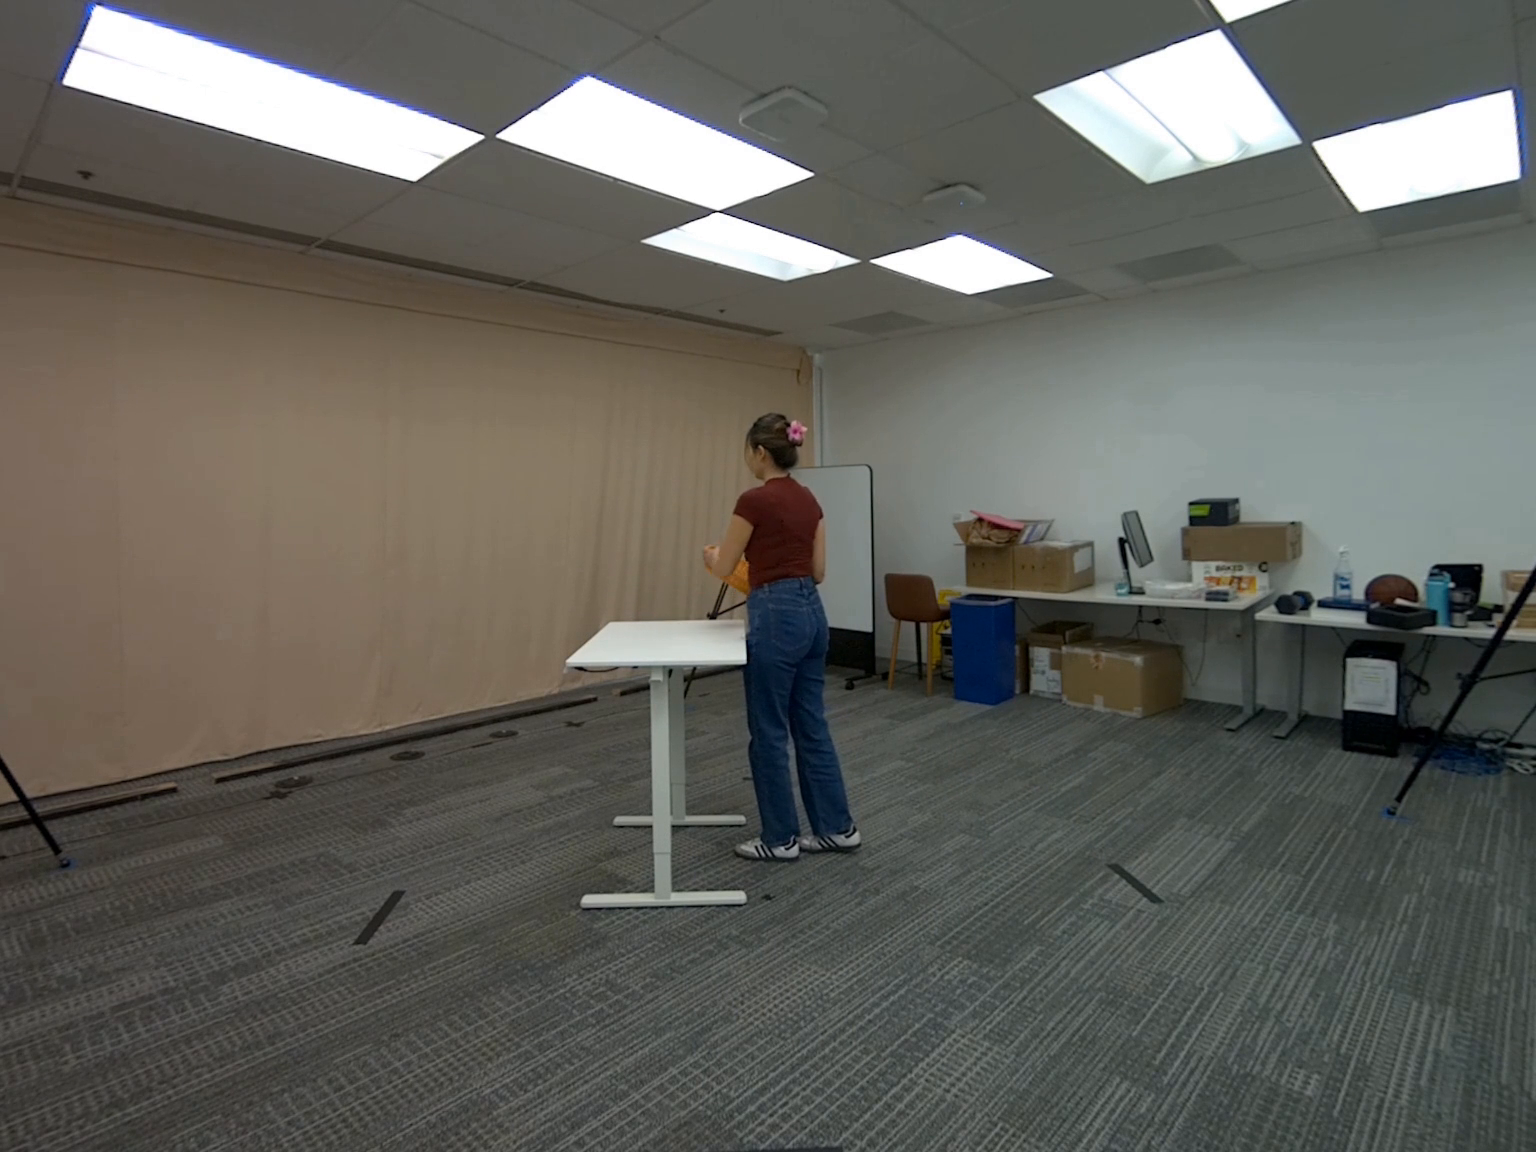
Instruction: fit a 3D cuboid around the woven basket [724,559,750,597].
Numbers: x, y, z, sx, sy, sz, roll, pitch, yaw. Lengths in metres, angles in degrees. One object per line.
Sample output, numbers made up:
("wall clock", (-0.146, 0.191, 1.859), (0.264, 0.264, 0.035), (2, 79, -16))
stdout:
("woven basket", (-0.127, -0.007, 3.637), (0.351, 0.073, 0.252), (31, 15, 0))
